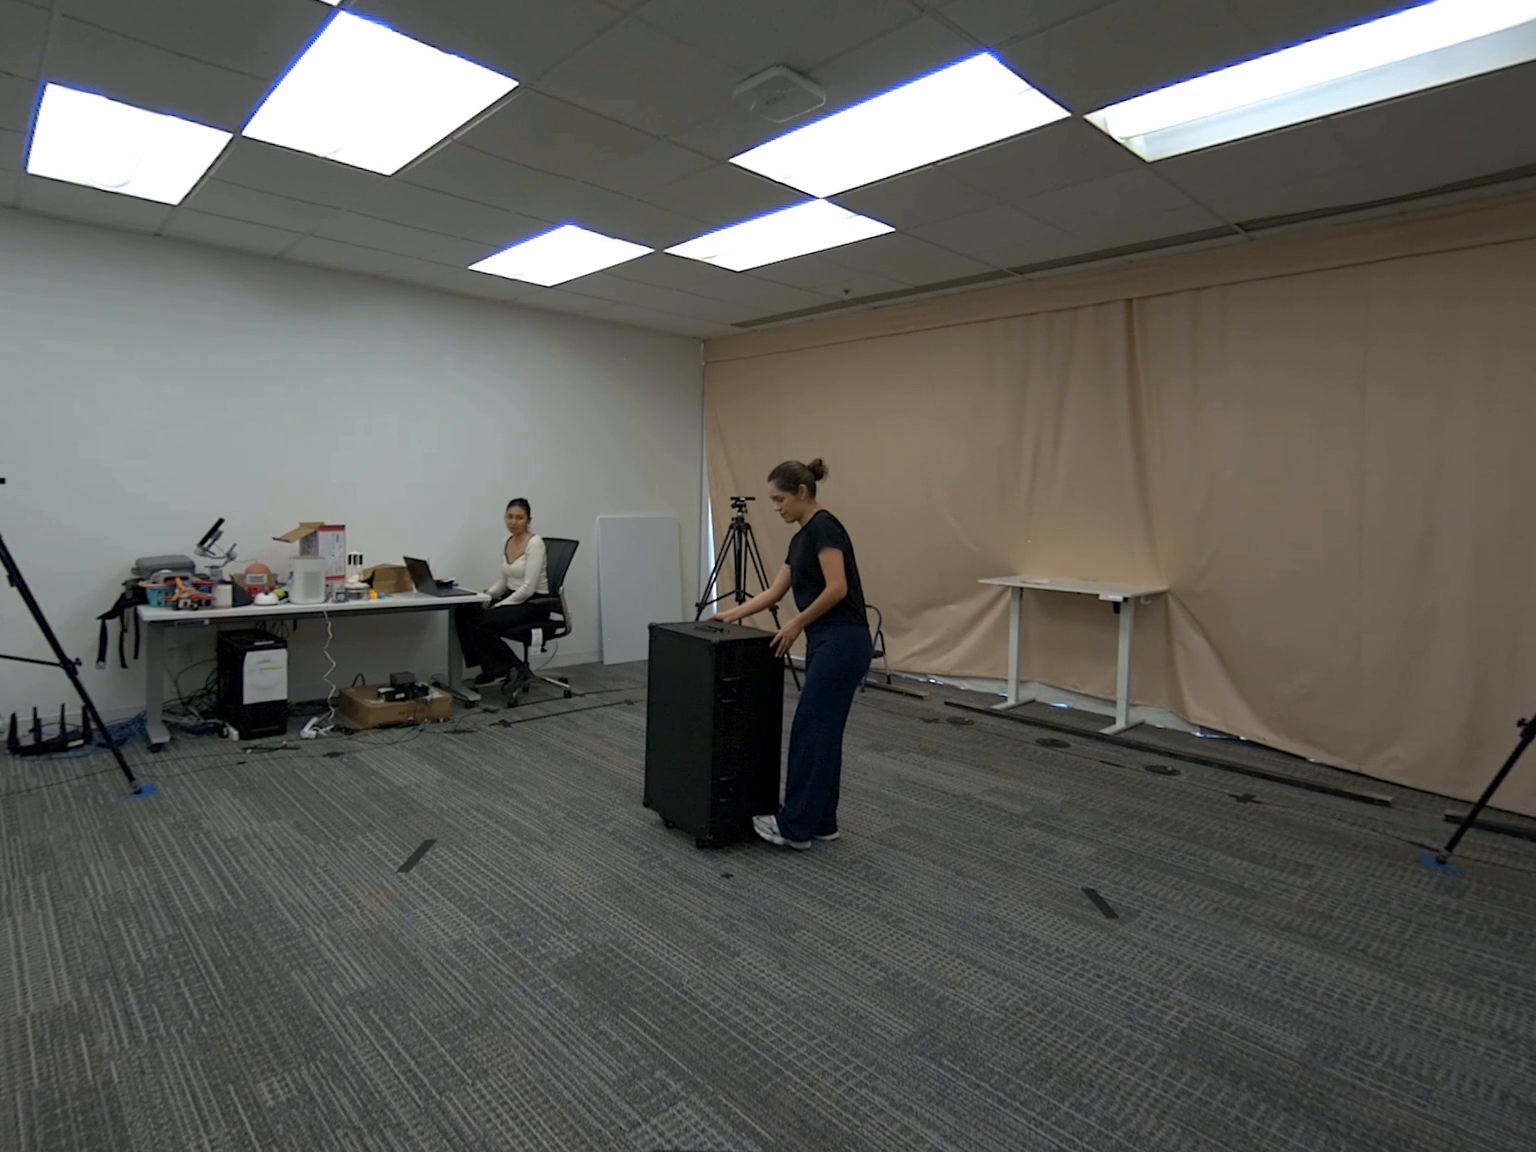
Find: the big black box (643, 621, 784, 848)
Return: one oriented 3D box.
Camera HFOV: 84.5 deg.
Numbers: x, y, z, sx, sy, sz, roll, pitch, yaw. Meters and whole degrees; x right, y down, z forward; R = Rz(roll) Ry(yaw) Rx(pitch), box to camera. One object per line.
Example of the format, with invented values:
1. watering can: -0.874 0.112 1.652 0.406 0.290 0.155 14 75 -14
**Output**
1. big black box: -0.235 0.642 3.498 0.387 0.860 0.534 1 4 -38
